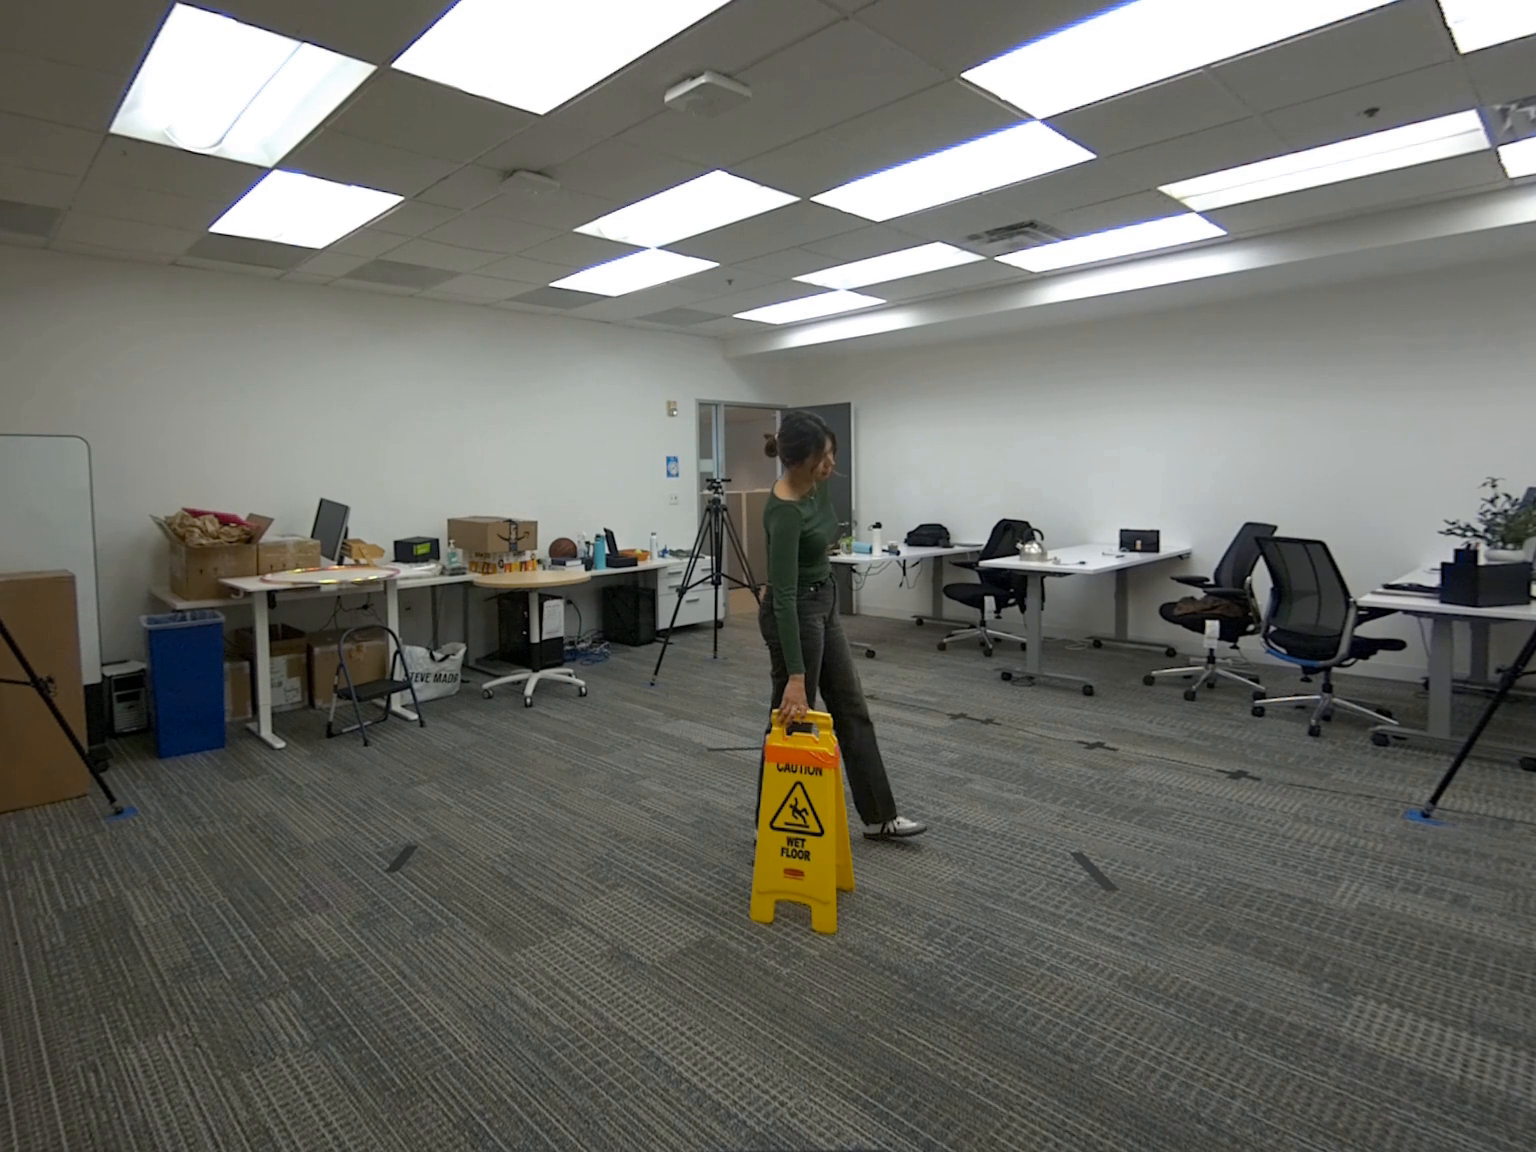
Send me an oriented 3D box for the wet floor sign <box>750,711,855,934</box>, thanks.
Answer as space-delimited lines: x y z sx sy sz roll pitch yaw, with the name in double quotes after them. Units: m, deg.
0.119 0.759 2.781 0.288 0.644 0.285 3 4 19 "wet floor sign"
